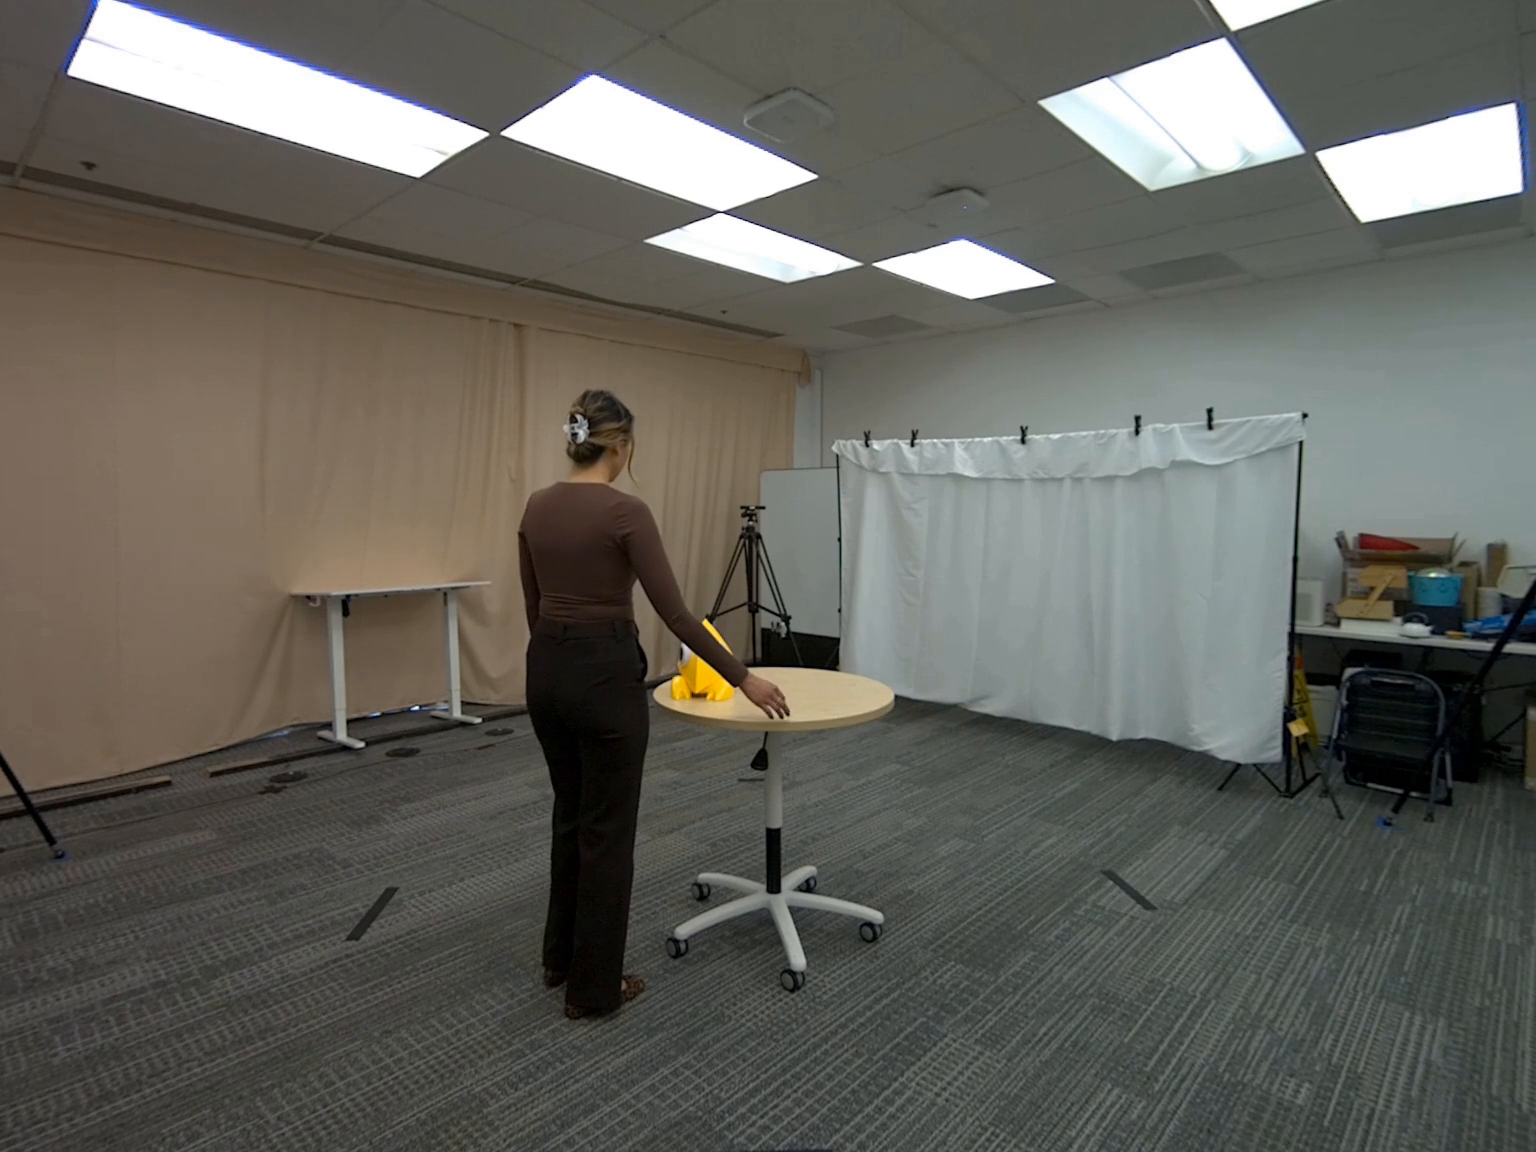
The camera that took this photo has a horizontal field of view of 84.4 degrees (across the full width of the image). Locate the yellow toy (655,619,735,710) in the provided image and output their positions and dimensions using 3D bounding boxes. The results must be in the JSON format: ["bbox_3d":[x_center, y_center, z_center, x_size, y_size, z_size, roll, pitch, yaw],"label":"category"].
[{"bbox_3d":[-0.205,0.258,2.665,0.207,0.230,0.191,0,3,9],"label":"yellow toy"}]
